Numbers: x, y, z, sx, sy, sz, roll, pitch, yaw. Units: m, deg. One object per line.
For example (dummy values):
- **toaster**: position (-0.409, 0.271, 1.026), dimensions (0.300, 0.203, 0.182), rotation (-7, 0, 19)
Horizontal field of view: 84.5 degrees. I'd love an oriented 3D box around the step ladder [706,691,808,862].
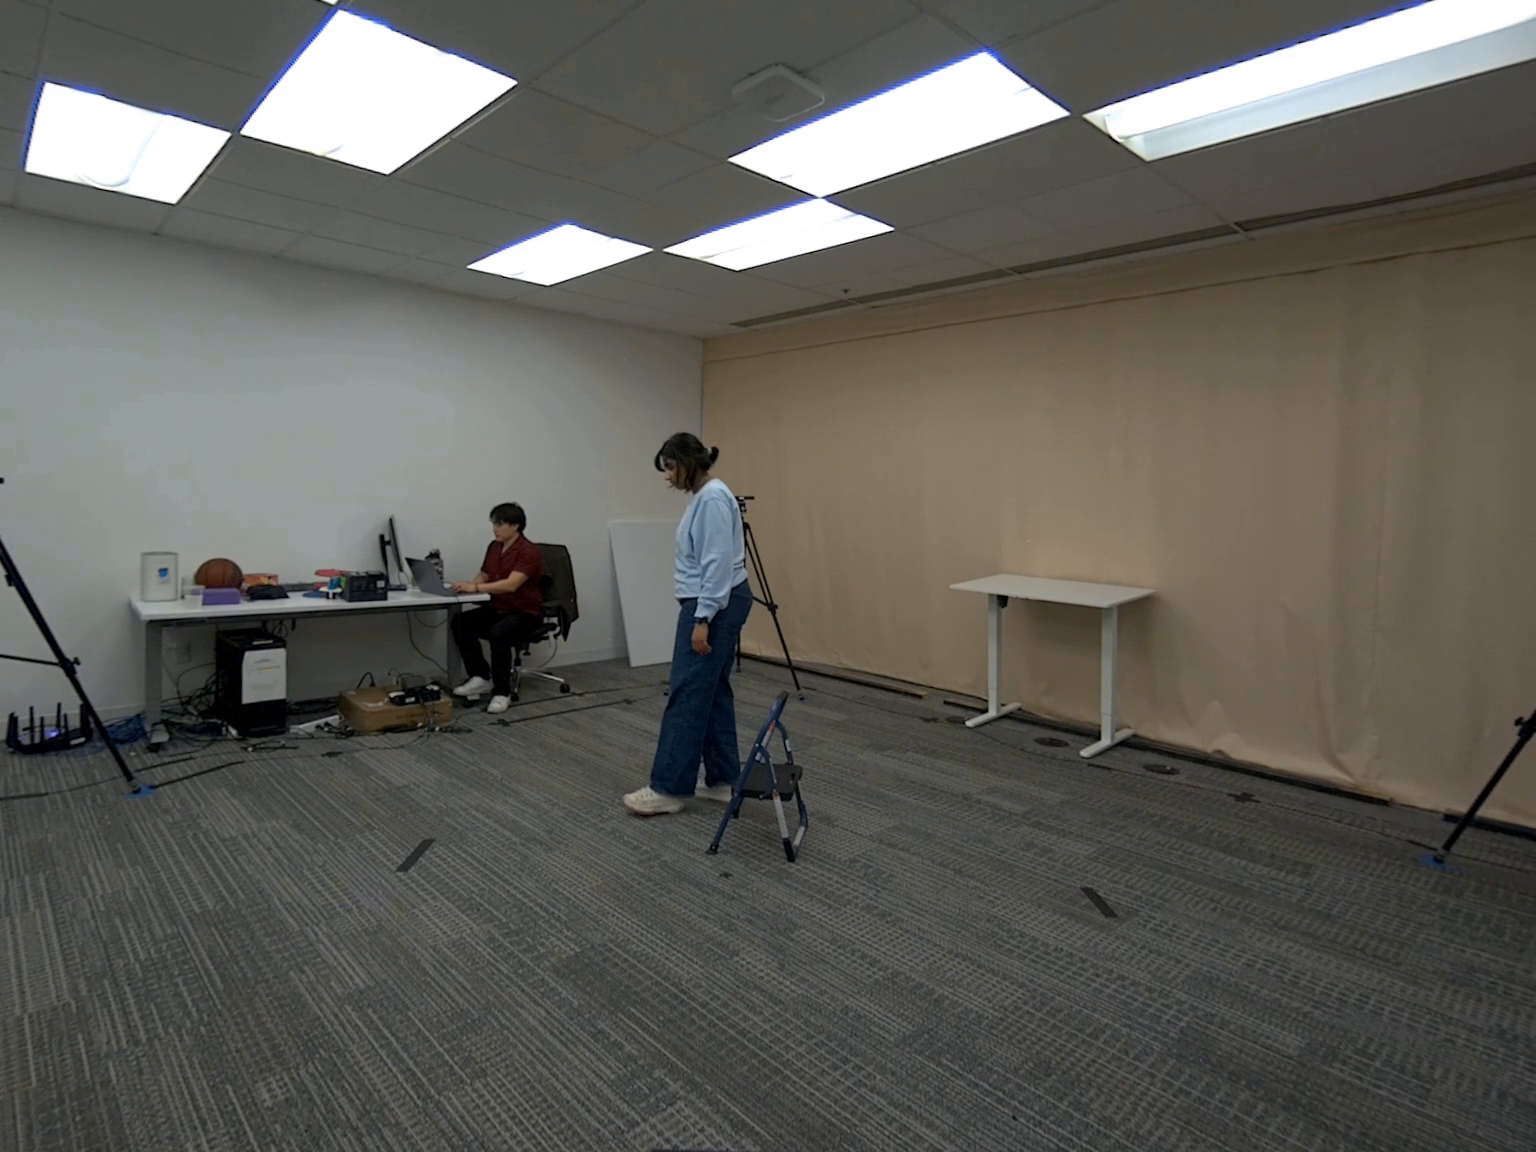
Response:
- **step ladder**: position (-0.028, 0.775, 3.441), dimensions (0.353, 0.605, 0.427), rotation (2, 3, 11)
